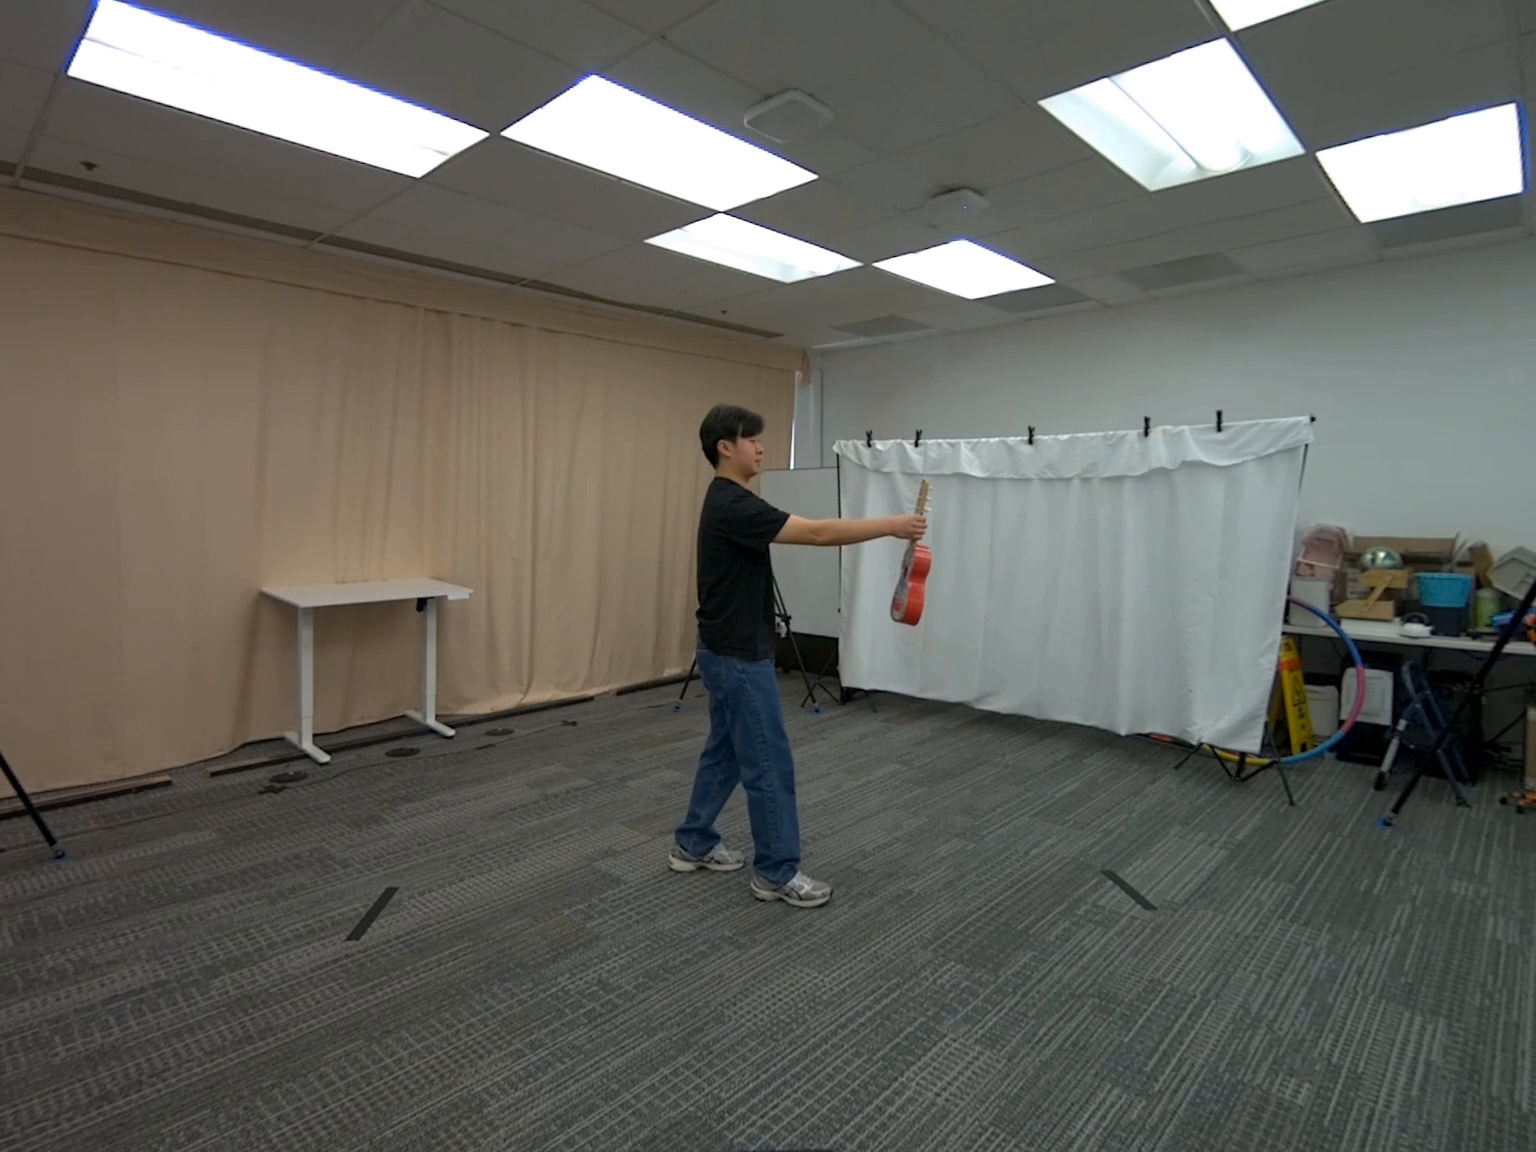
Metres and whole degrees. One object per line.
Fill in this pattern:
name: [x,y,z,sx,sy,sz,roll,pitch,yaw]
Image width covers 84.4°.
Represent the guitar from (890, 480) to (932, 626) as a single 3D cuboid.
guitar: [0.523,-0.075,2.864,0.070,0.496,0.195,11,10,-6]
